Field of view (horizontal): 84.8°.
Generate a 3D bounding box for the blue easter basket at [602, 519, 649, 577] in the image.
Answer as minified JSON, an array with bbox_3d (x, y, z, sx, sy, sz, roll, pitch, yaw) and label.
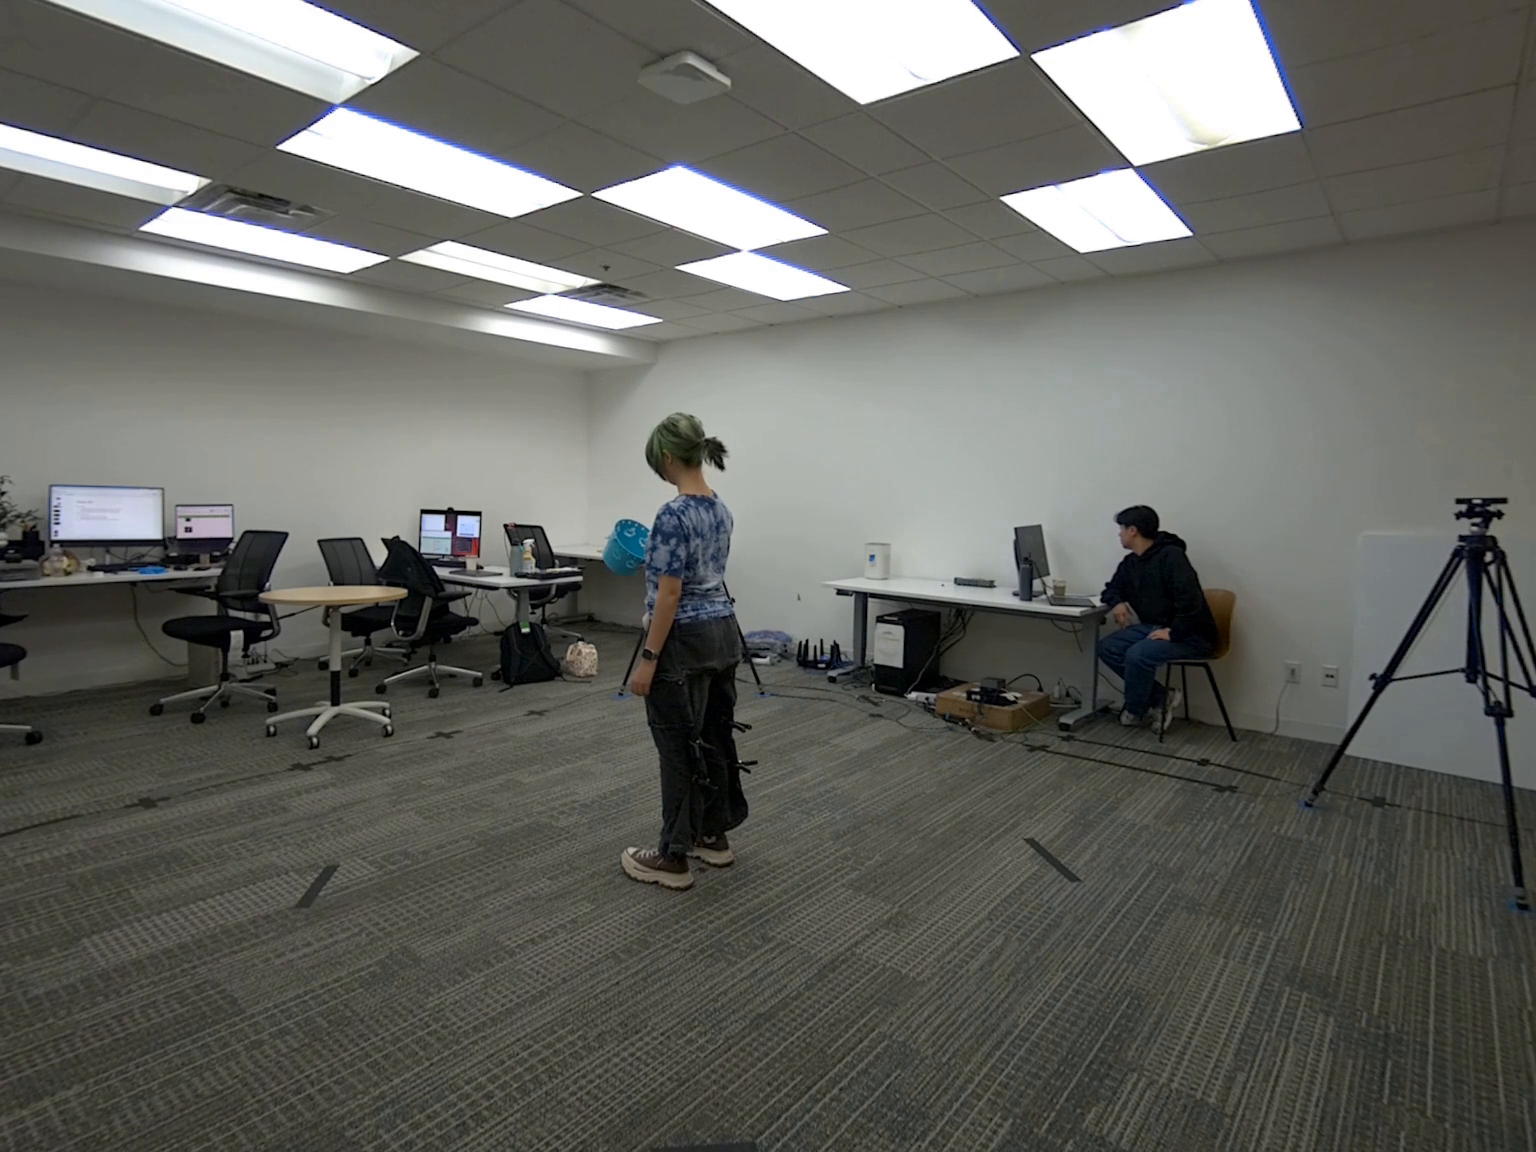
[{"bbox_3d":[-0.612,-0.110,3.717,0.236,0.251,0.155,-4,-38,-48],"label":"blue easter basket"}]
